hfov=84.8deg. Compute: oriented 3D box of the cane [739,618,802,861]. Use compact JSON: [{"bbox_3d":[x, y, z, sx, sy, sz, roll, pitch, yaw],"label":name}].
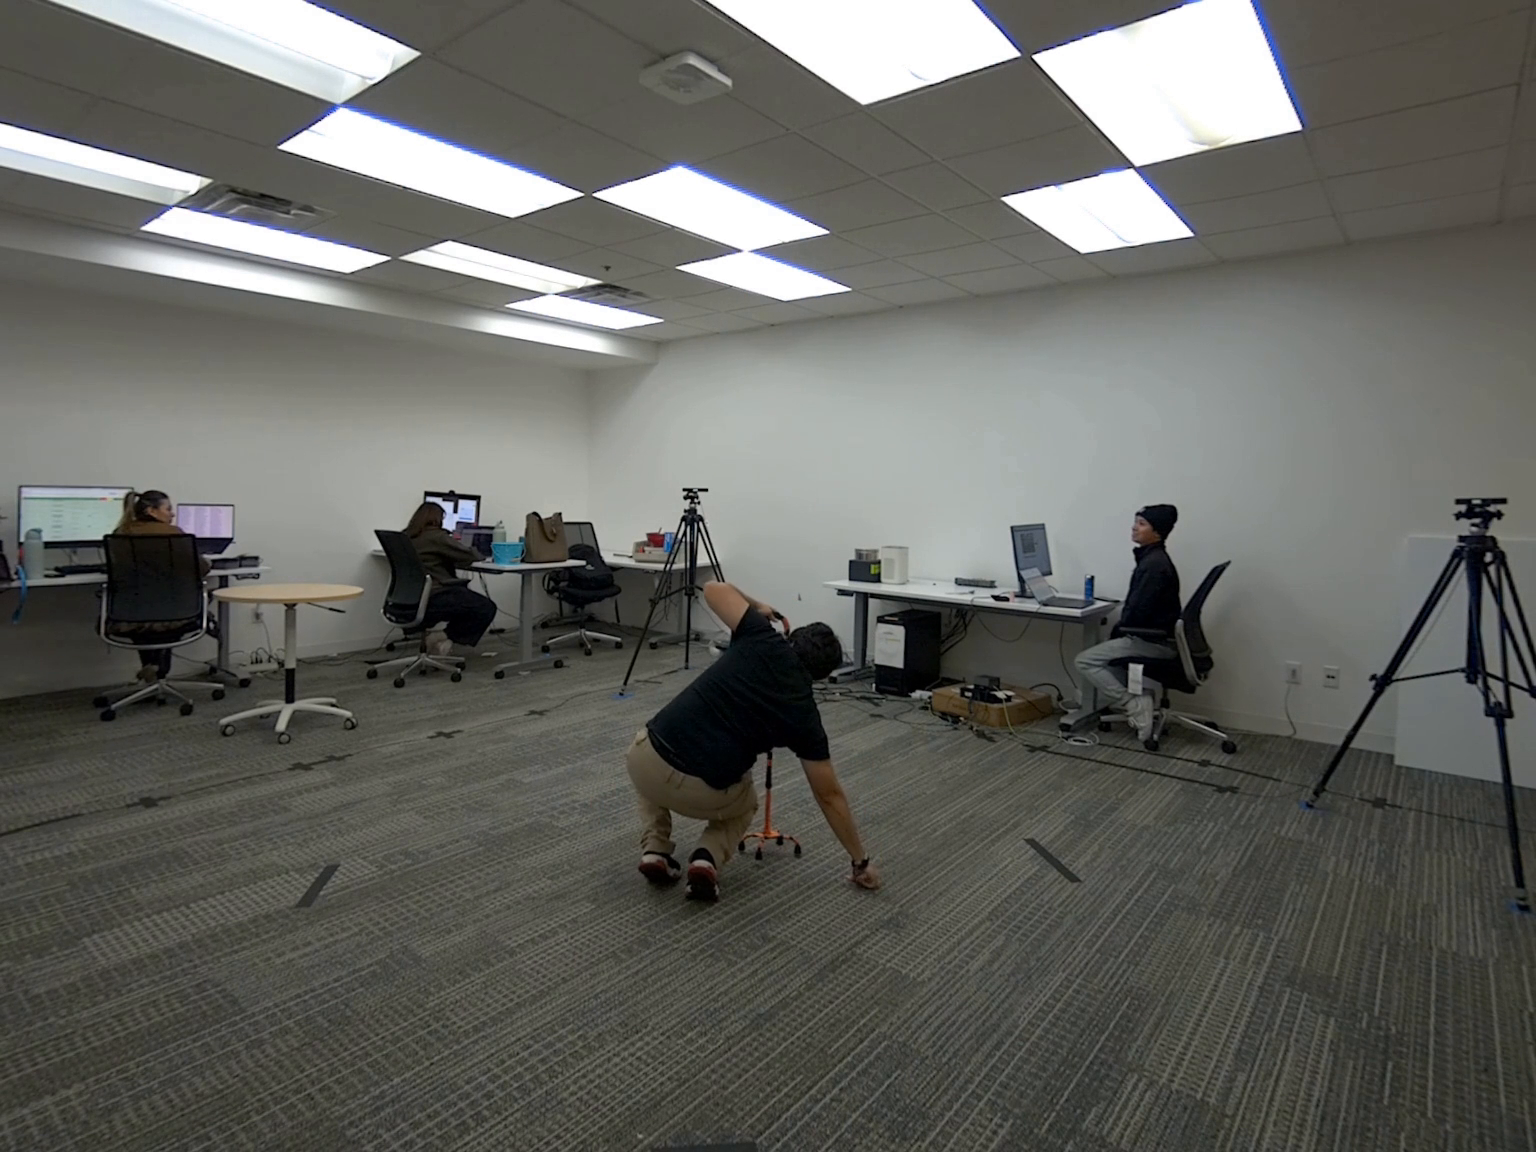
[{"bbox_3d":[0.010,0.598,3.282,0.200,0.911,0.156,3,-4,-35],"label":"cane"}]
